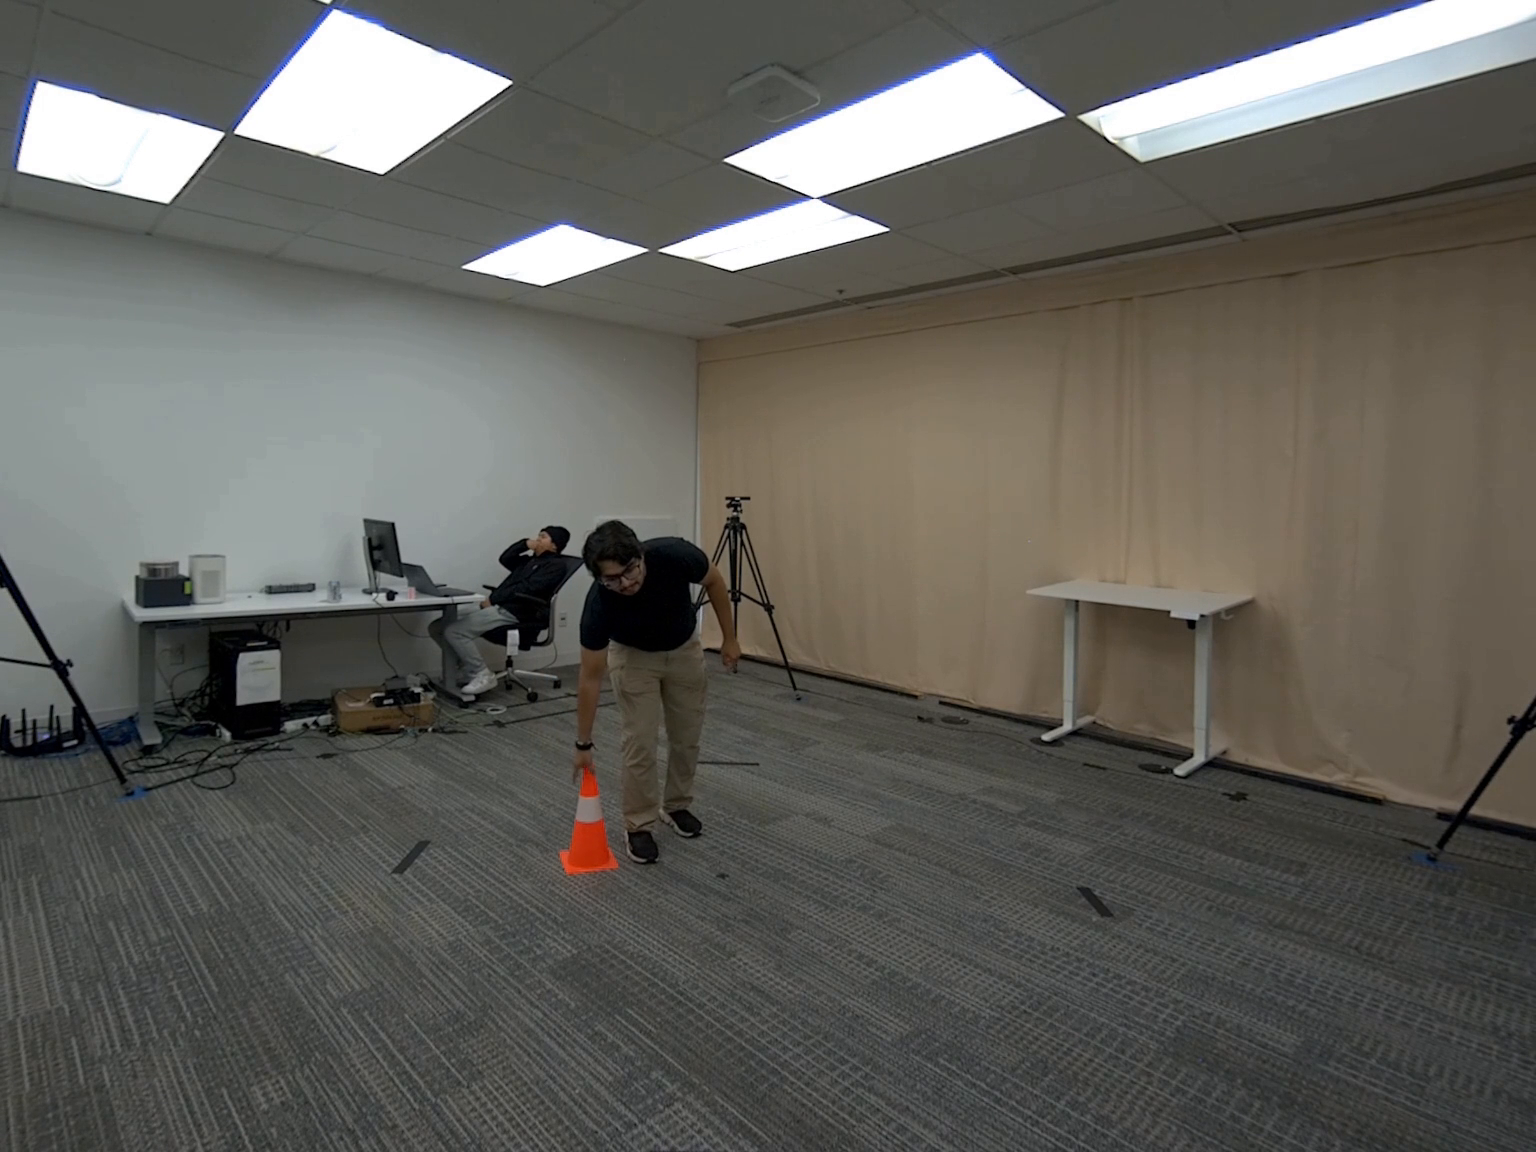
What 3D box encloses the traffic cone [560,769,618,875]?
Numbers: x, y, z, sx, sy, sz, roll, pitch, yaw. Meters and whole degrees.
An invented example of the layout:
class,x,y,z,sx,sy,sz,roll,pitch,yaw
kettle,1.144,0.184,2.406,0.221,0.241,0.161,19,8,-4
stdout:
class,x,y,z,sx,sy,sz,roll,pitch,yaw
traffic cone,-0.690,0.905,3.202,0.201,0.383,0.208,1,2,-16
